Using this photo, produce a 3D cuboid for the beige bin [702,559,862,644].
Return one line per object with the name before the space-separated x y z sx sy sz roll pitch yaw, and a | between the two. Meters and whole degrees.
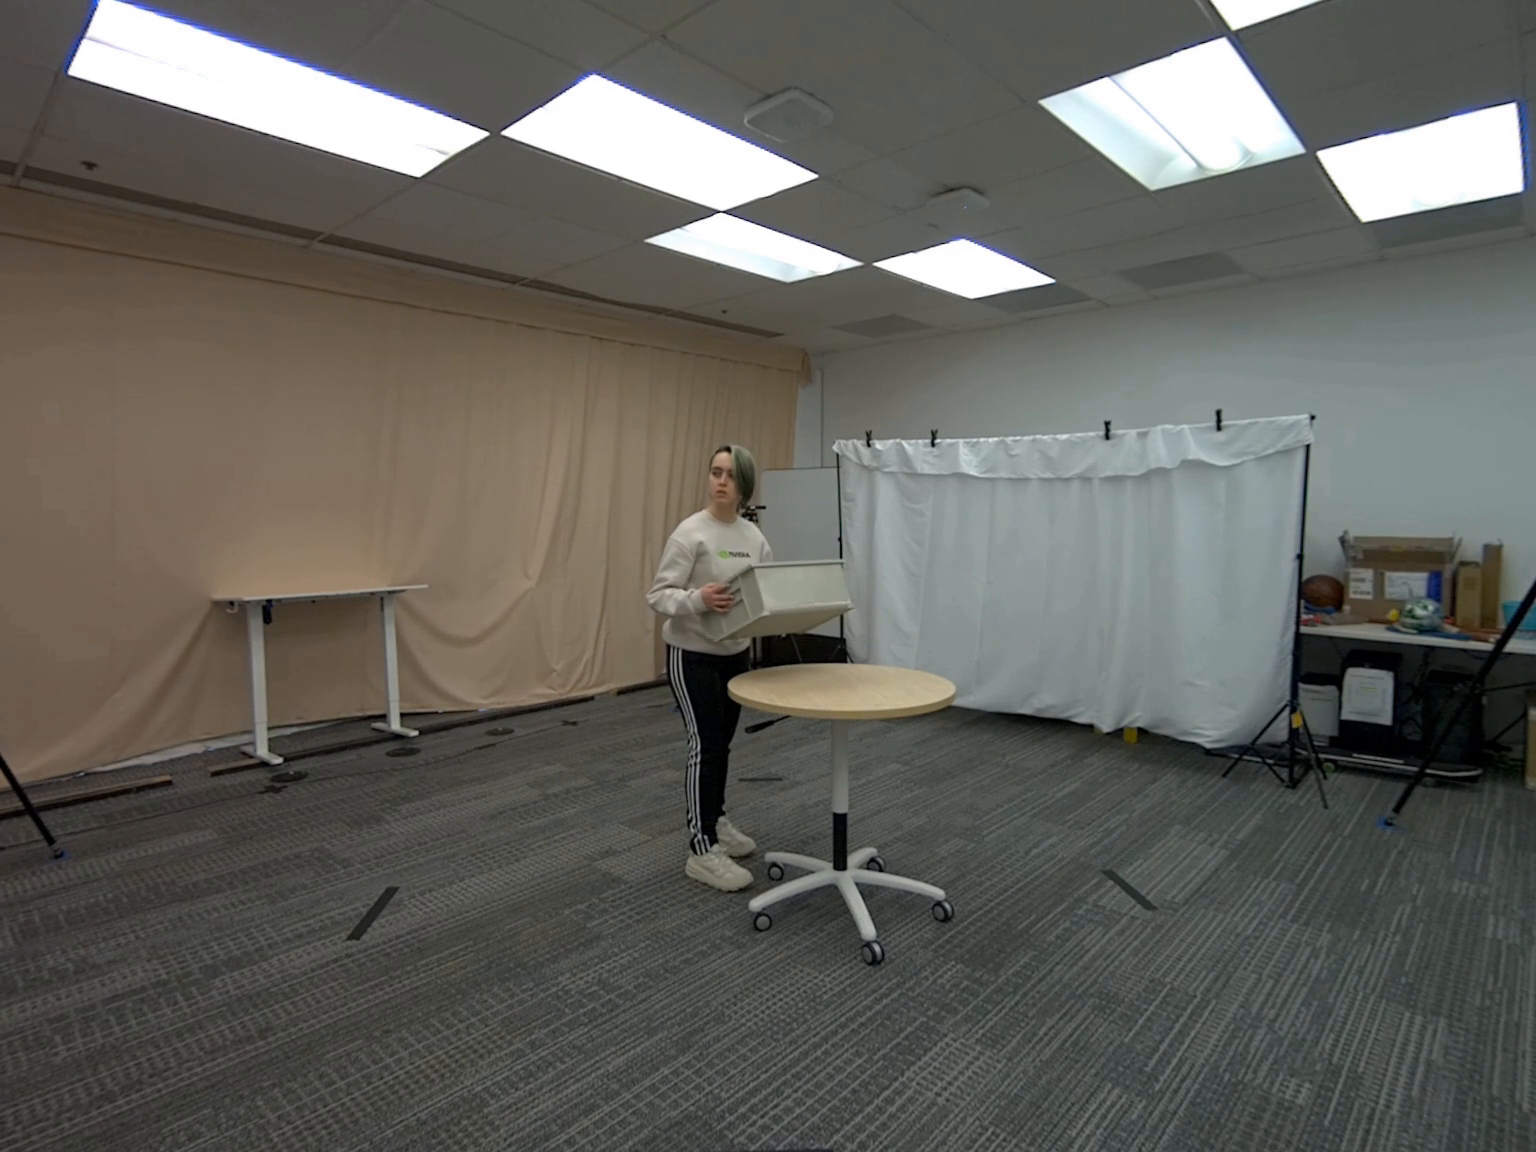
beige bin | 0.028 0.099 3.016 0.410 0.191 0.383 -2 -17 -34
